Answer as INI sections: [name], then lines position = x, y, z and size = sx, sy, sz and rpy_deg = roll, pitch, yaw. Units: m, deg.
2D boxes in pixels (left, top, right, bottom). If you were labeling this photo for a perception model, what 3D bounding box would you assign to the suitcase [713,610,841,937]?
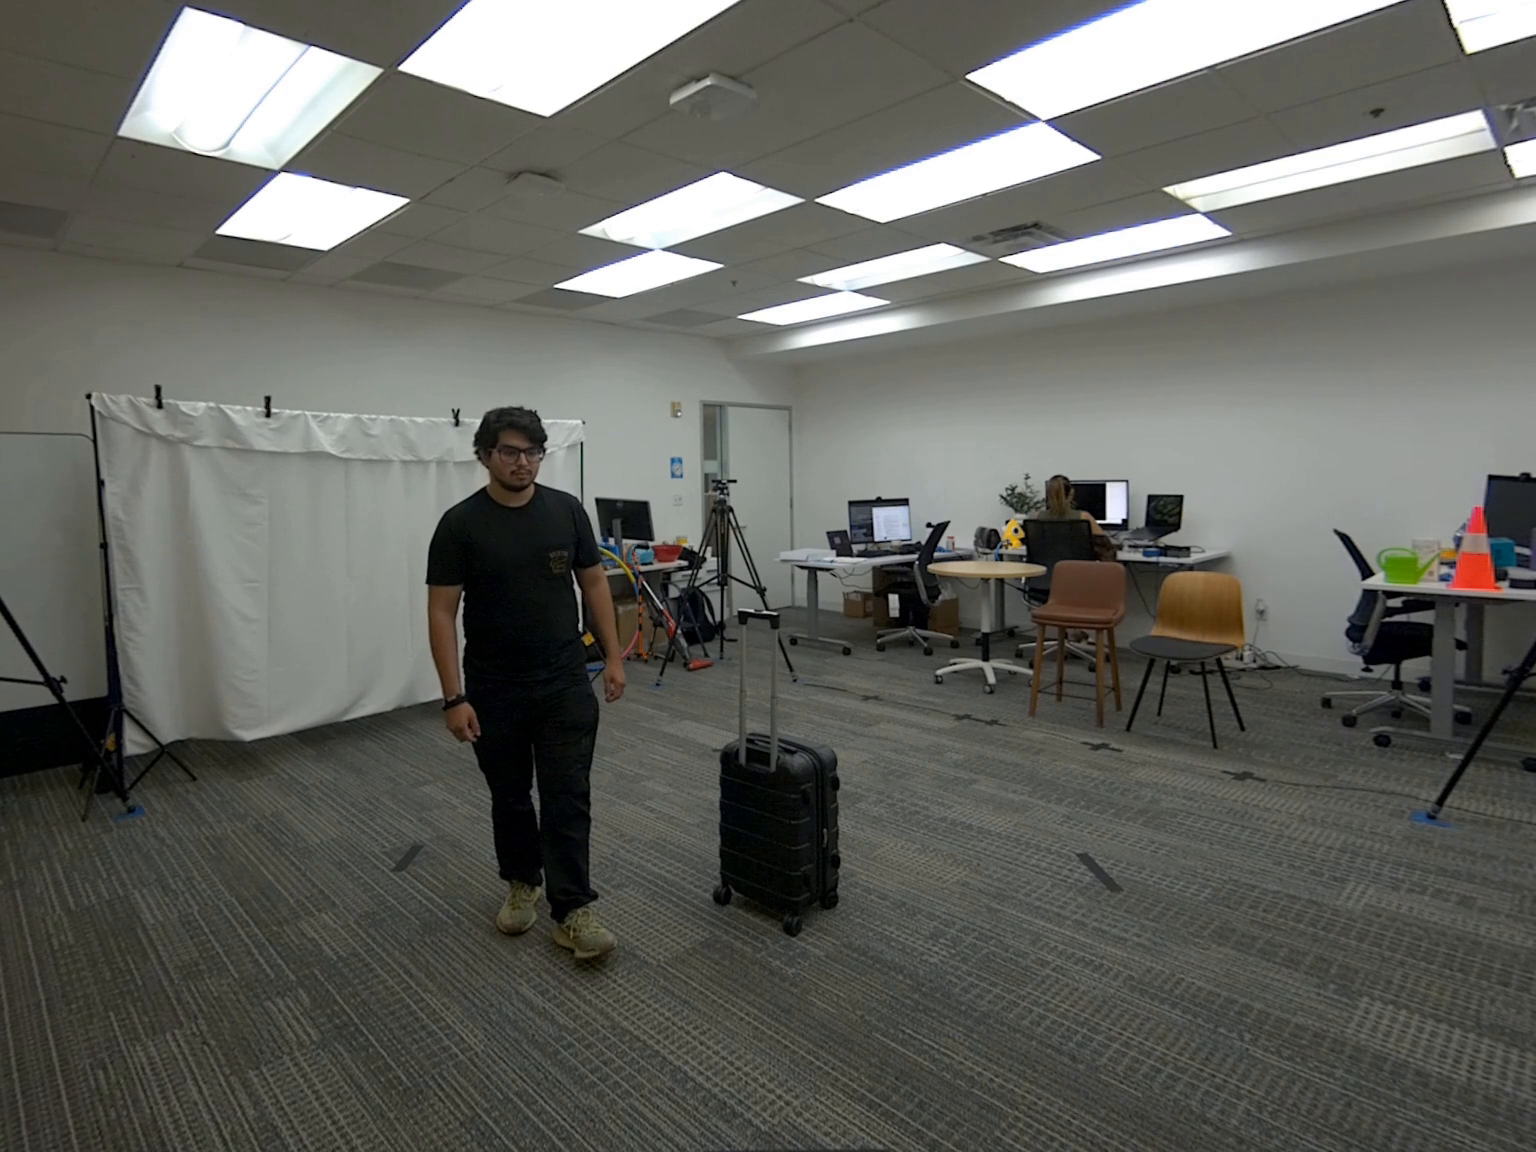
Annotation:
[suitcase]
position = 0.038, 0.603, 2.804
size = 0.395, 0.977, 0.250
rpy_deg = 3, 2, 40
